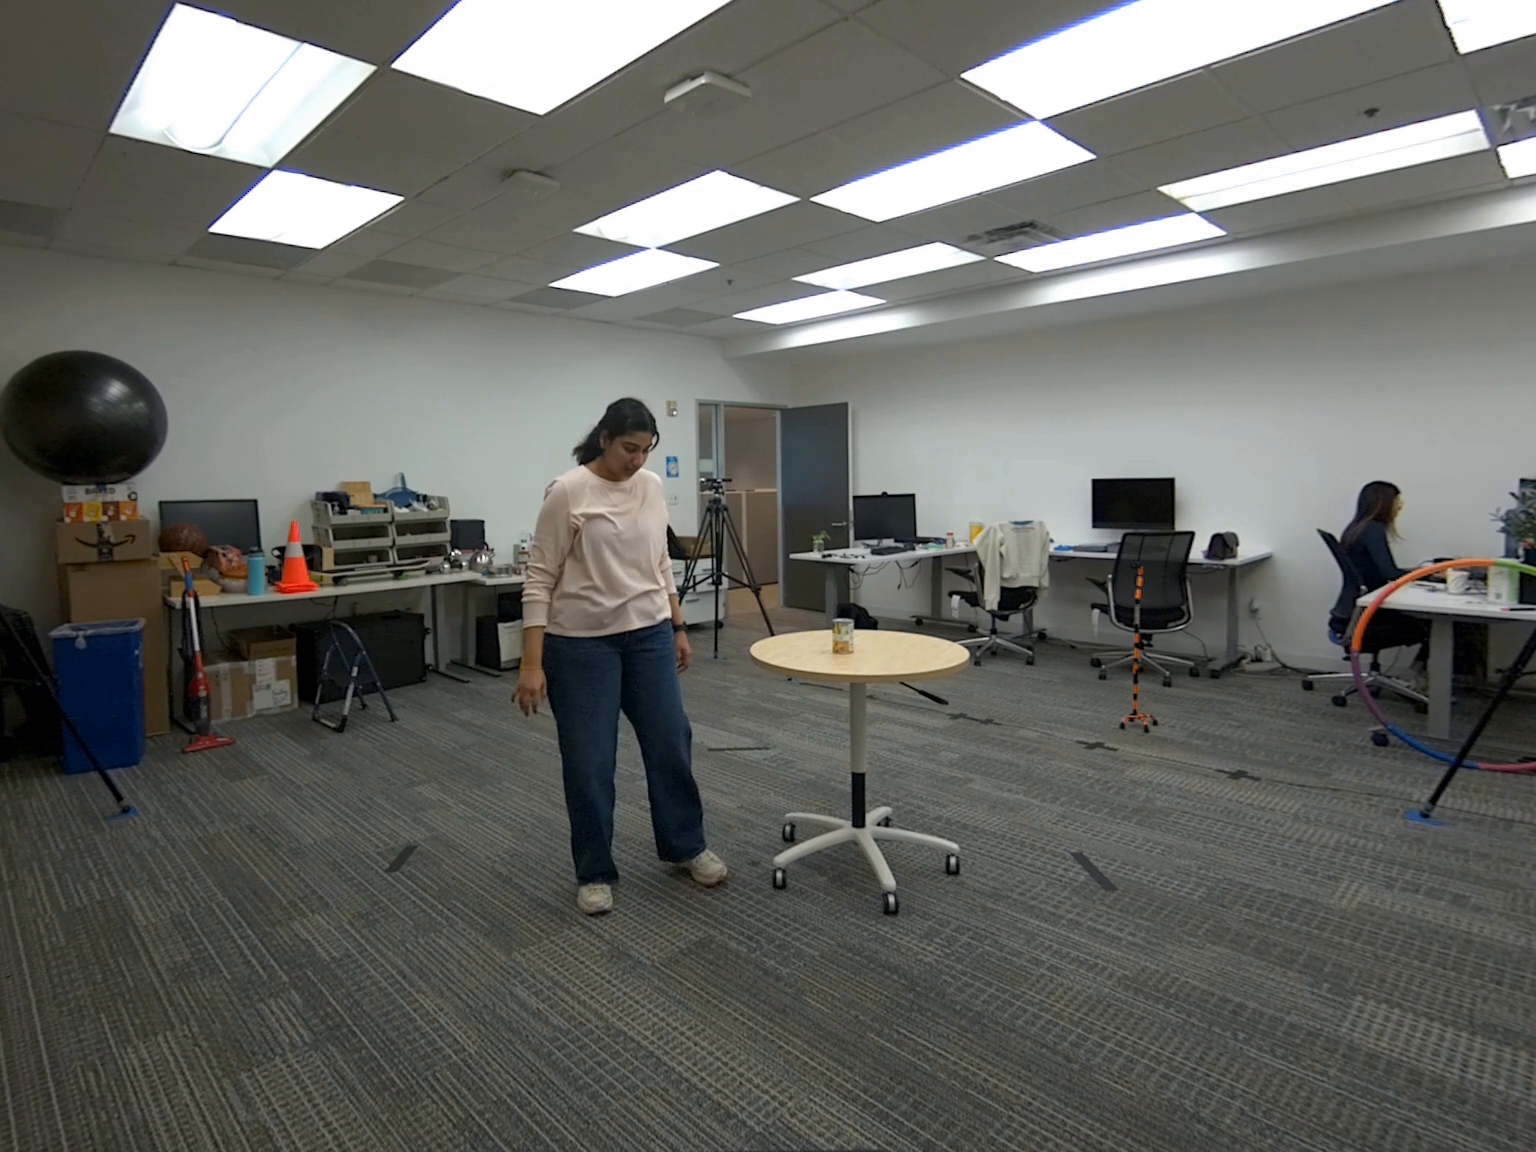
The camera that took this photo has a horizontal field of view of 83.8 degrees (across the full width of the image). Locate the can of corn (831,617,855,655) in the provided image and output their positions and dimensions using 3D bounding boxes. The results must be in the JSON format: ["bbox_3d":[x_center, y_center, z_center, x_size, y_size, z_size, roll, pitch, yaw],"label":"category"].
[{"bbox_3d":[0.261,0.210,2.991,0.074,0.110,0.074,-1,5,-2],"label":"can of corn"}]
